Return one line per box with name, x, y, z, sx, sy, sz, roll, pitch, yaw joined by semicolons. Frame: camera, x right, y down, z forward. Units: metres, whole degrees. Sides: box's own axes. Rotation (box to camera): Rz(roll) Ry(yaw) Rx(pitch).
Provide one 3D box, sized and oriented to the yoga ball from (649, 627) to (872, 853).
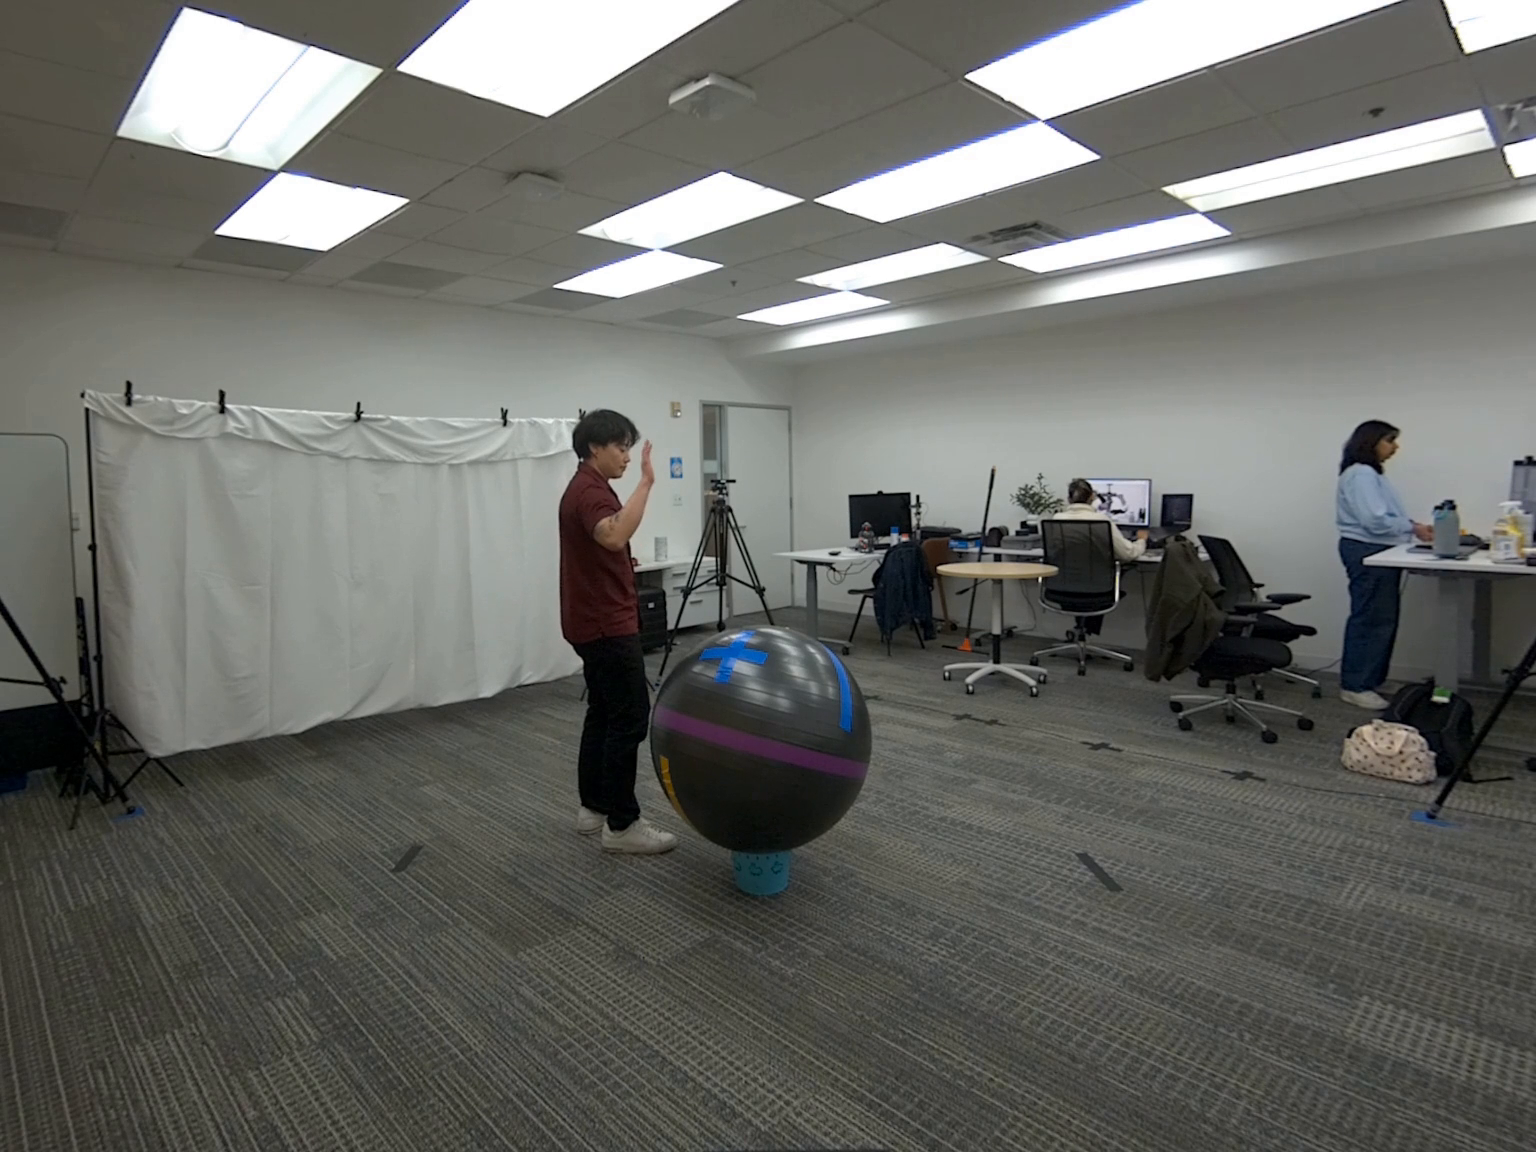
yoga ball;-0.010;0.561;2.938;0.757;0.755;0.762;-1;5;-2
